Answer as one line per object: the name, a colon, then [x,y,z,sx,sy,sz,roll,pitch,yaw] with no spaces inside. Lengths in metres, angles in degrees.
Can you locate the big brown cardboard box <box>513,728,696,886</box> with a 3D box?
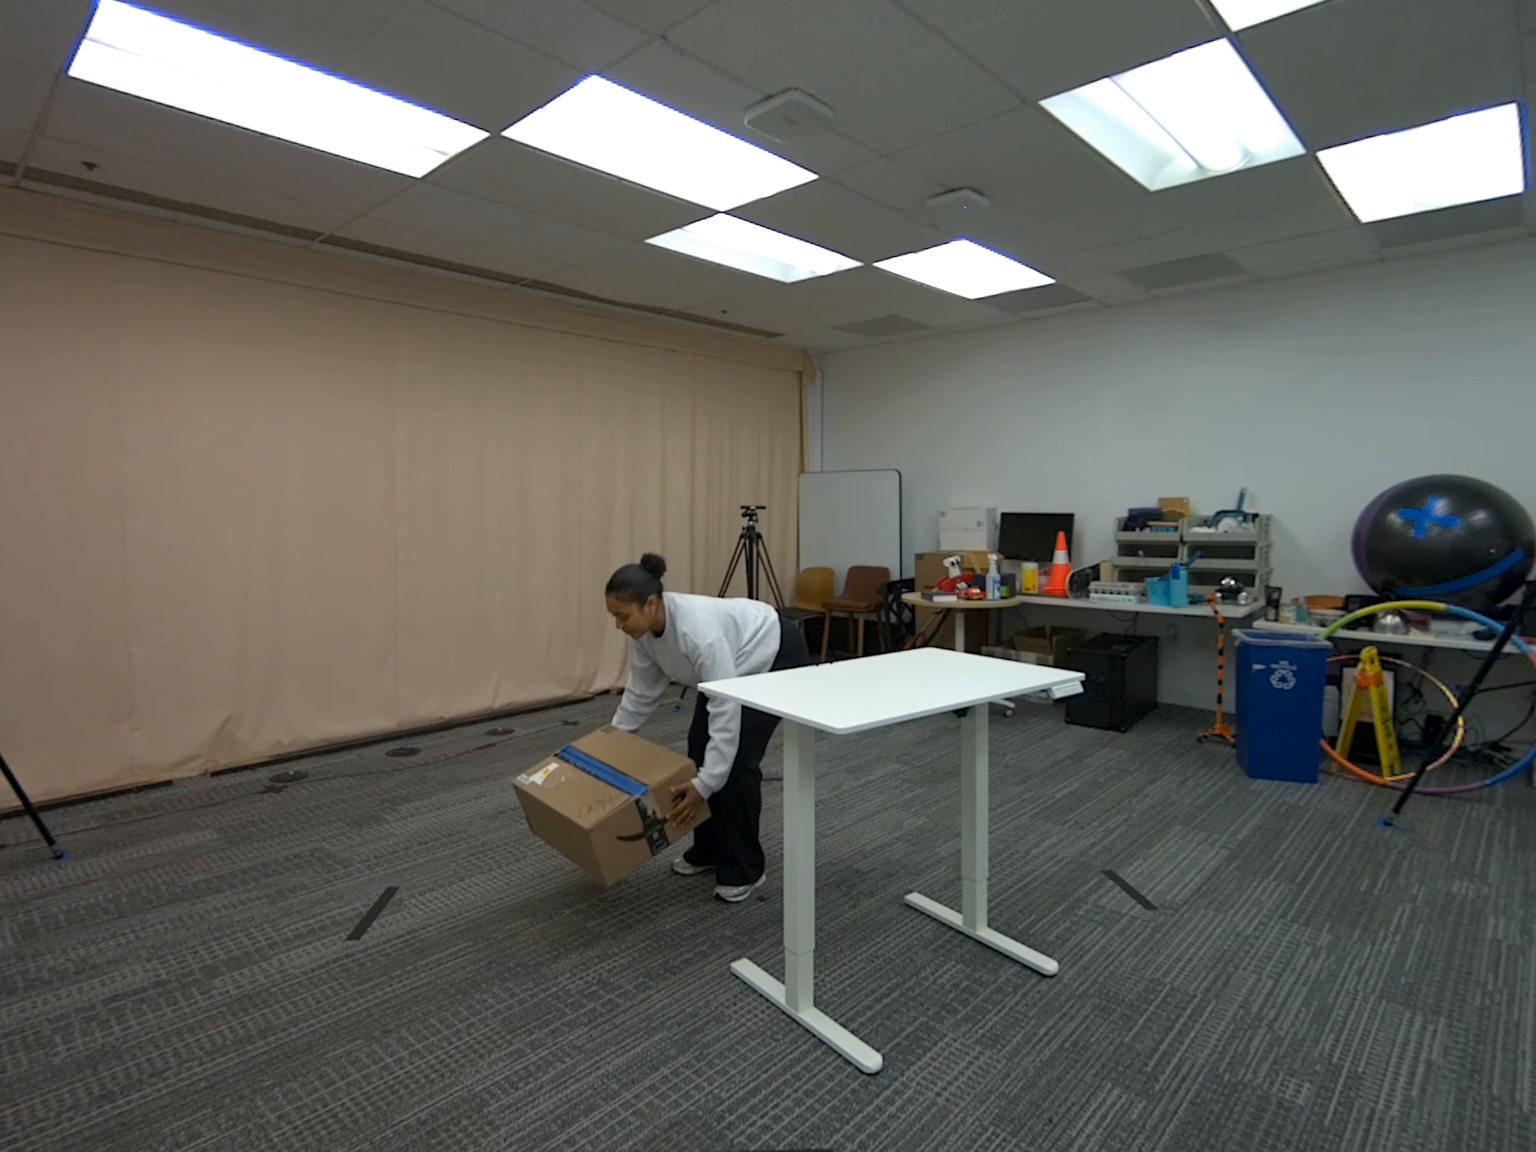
big brown cardboard box: [-0.553,0.752,2.872,0.409,0.230,0.608,-27,20,-34]
